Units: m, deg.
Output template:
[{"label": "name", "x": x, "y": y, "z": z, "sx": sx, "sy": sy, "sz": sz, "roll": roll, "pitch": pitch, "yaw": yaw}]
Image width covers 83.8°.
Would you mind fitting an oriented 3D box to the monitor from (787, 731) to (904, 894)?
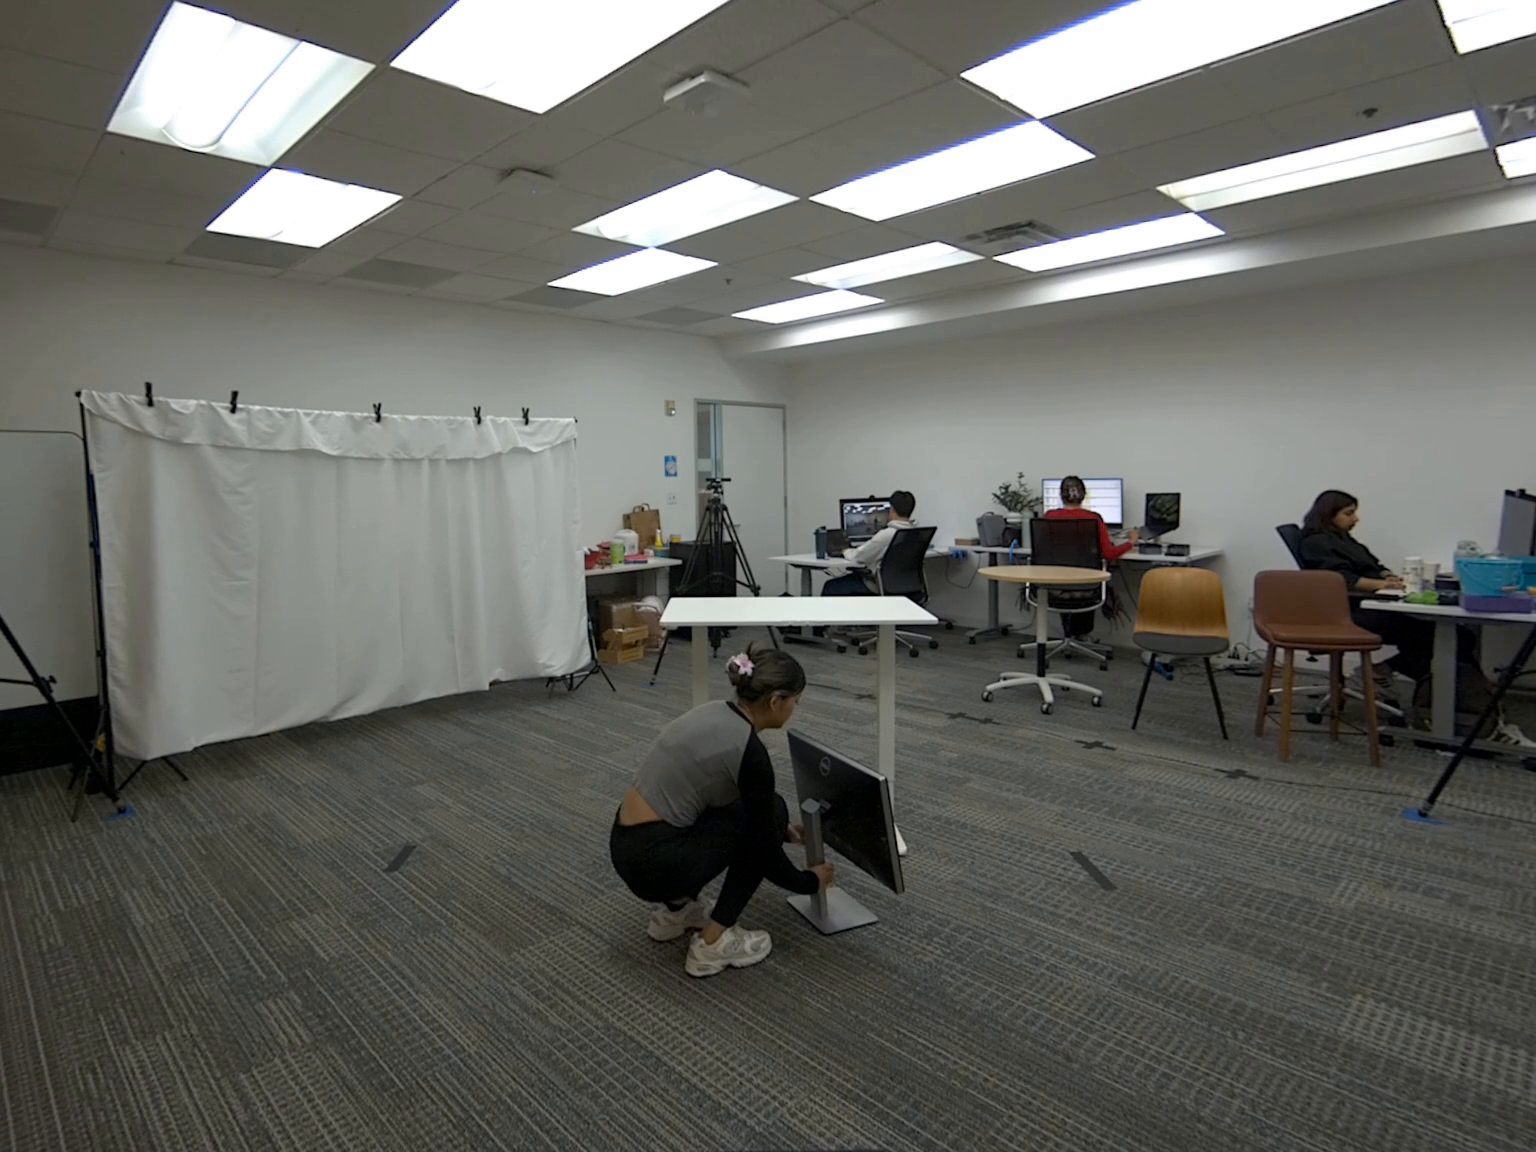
[{"label": "monitor", "x": 0.207, "y": 0.819, "z": 2.722, "sx": 0.182, "sy": 0.521, "sz": 0.554, "roll": 0, "pitch": 5, "yaw": -29}]
